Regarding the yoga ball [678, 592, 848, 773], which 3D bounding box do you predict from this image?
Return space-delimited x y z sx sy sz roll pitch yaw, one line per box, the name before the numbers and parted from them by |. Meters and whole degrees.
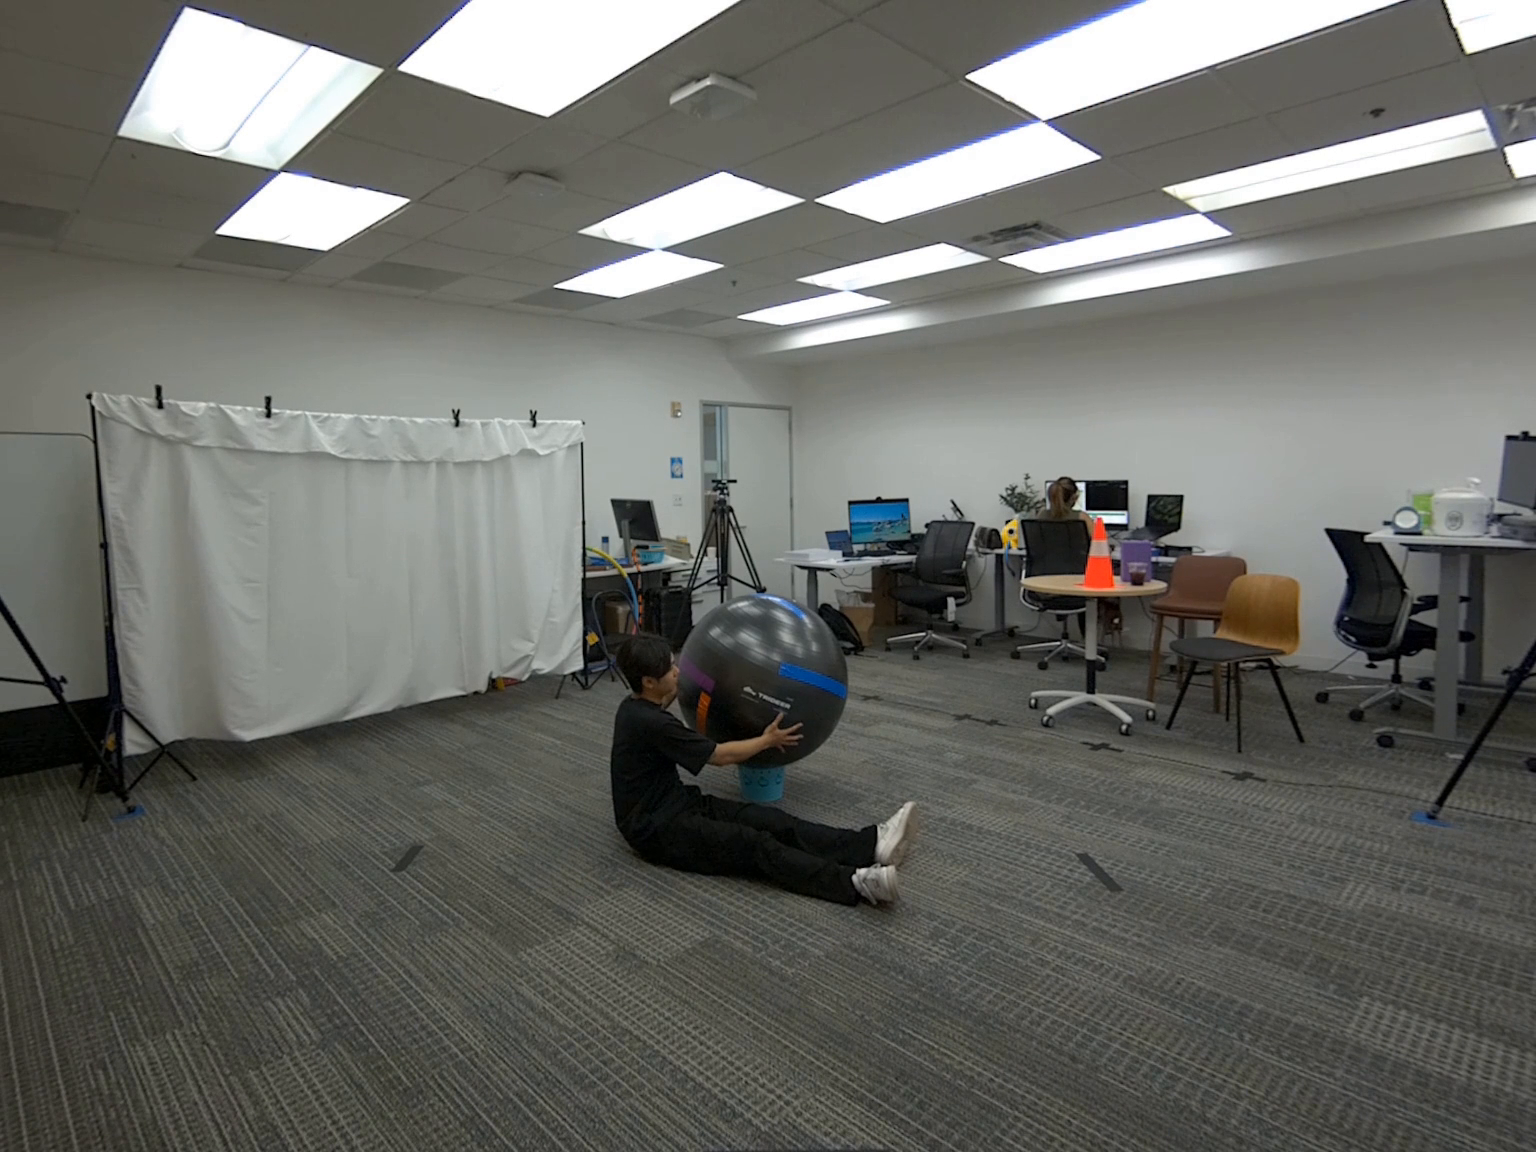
yoga ball | -0.026 0.469 3.786 0.757 0.755 0.762 -1 5 -2
